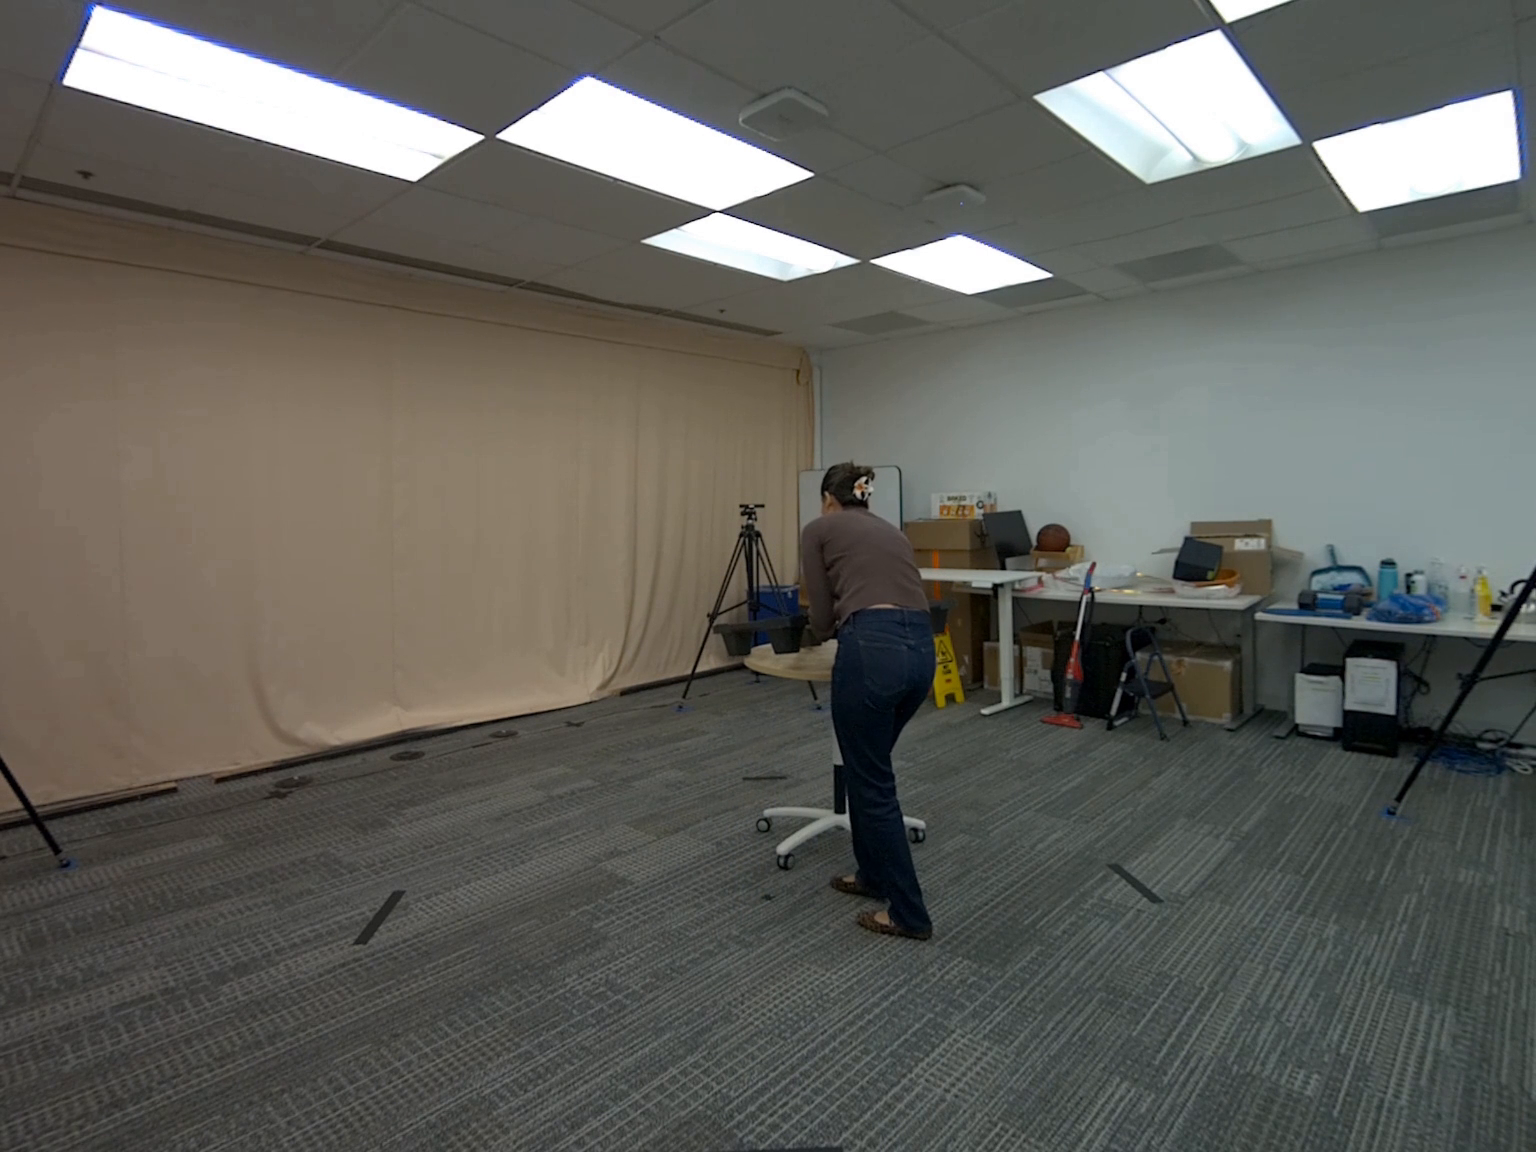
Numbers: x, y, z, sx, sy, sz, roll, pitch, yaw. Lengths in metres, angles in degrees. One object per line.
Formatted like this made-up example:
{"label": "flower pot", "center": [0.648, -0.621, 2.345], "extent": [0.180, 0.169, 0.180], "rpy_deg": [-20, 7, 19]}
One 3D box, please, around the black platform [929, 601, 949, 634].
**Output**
{"label": "black platform", "center": [0.252, 0.212, 3.384], "extent": [0.785, 0.144, 0.619], "rpy_deg": [-4, -3, -28]}
